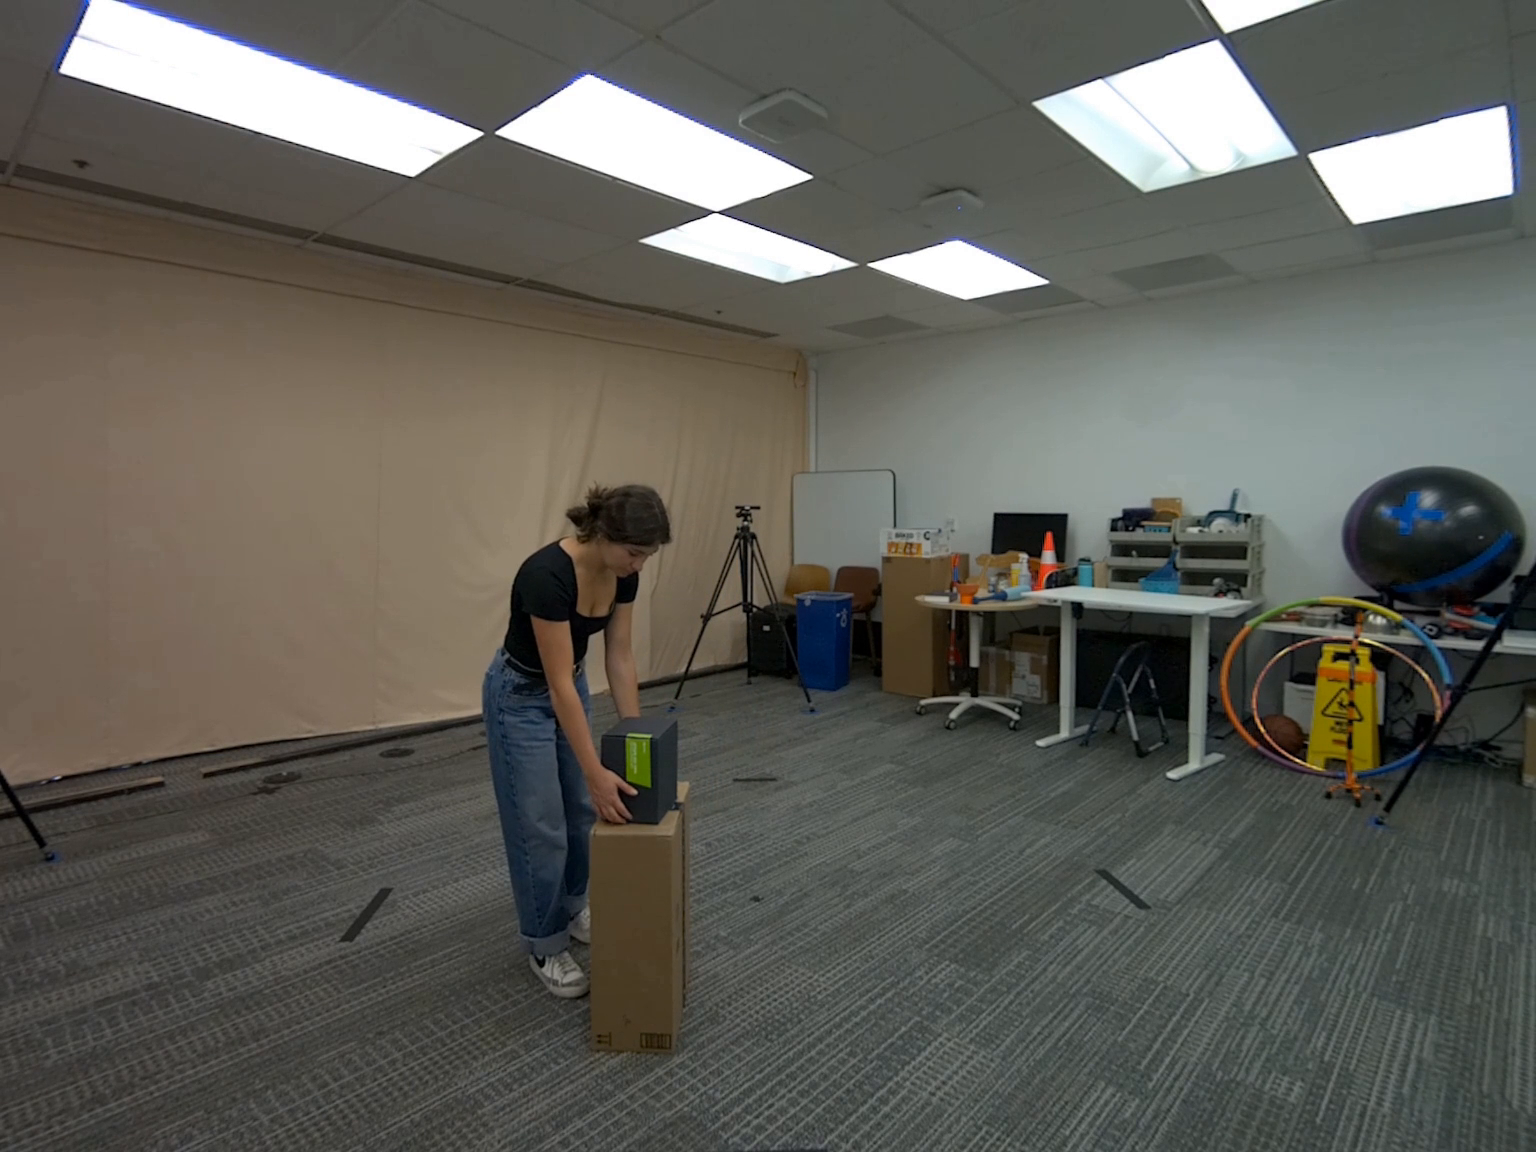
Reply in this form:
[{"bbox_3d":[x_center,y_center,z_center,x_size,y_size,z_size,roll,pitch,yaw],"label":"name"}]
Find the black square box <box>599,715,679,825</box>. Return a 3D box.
[{"bbox_3d":[-0.335,0.523,2.289,0.157,0.227,0.216,-1,5,4],"label":"black square box"}]
